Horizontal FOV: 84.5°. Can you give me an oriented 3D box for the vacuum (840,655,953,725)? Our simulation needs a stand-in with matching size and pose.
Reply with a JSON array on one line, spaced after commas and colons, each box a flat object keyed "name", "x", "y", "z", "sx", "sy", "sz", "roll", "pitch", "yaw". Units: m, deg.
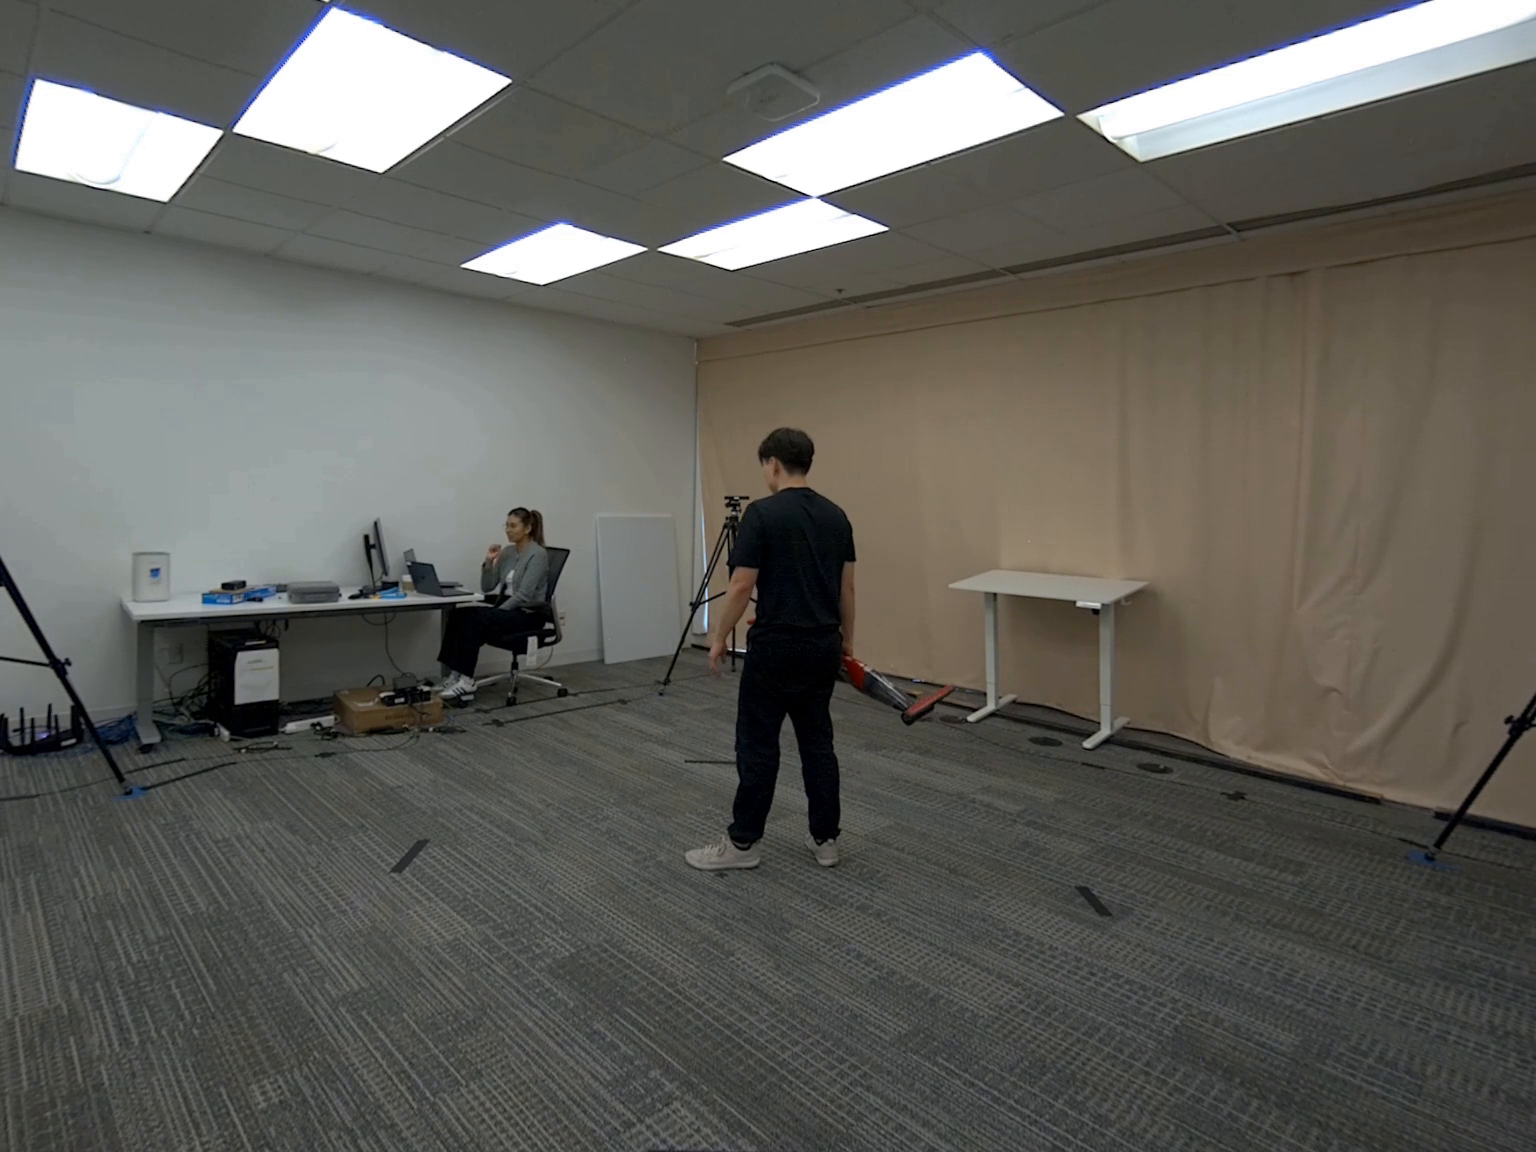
[{"name": "vacuum", "x": 0.239, "y": 0.350, "z": 3.515, "sx": 0.250, "sy": 0.141, "sz": 1.081, "roll": -27, "pitch": 30, "yaw": -30}]
